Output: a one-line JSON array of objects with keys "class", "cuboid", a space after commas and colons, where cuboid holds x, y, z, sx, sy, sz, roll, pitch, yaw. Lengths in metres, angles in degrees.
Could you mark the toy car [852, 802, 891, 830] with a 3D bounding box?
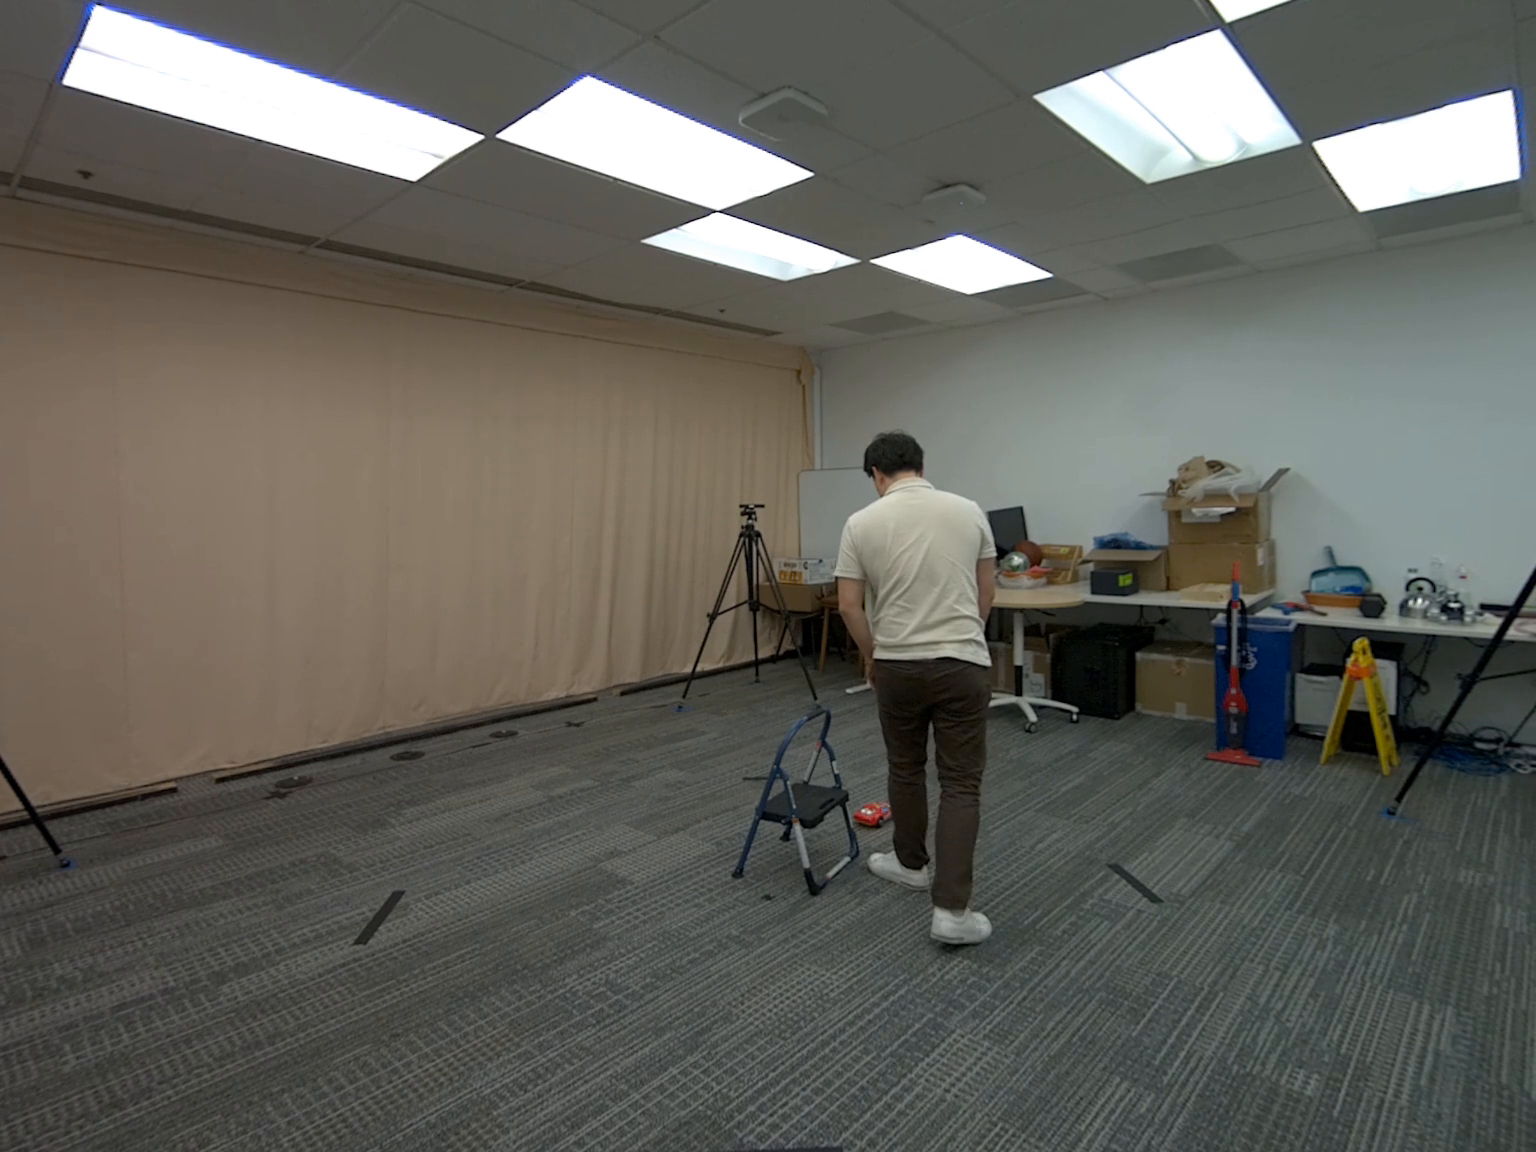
[{"class": "toy car", "cuboid": [0.477, 1.042, 3.682, 0.134, 0.083, 0.246, 3, -5, 43]}]
